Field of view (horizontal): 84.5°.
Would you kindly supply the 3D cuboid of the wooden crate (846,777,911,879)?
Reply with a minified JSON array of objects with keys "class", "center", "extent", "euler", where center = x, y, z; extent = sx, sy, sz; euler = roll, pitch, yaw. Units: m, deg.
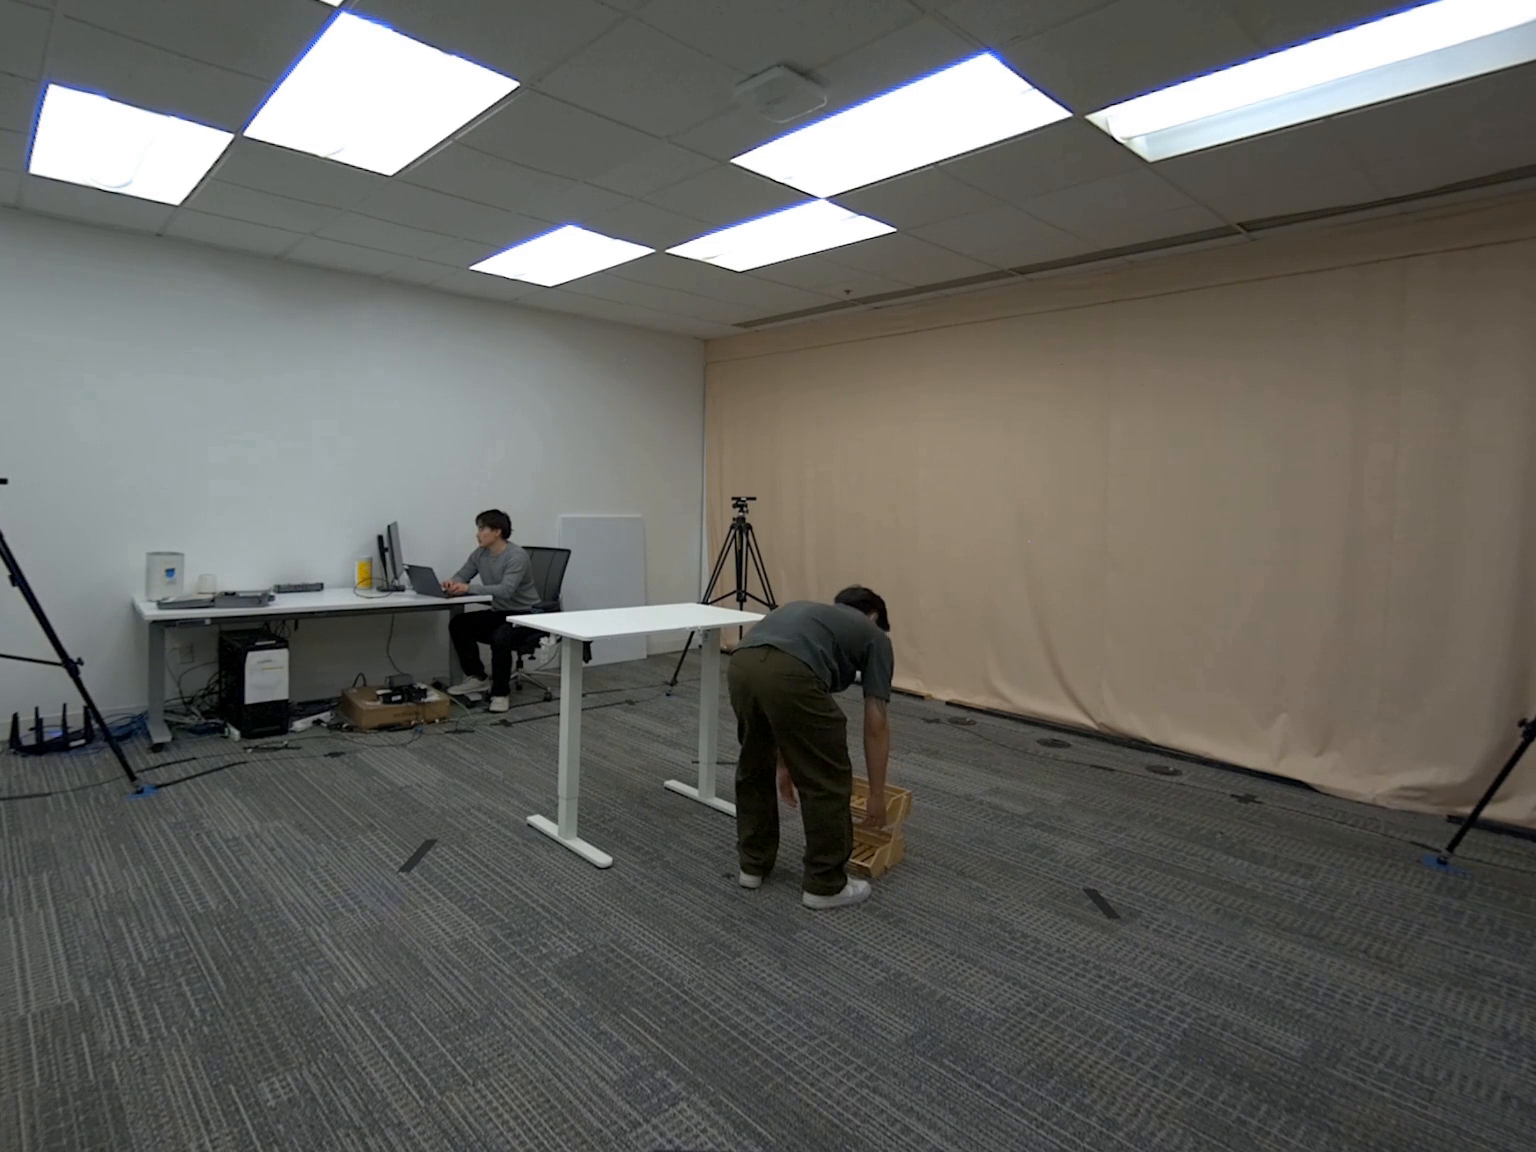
[{"class":"wooden crate","center":[0.342,0.965,3.299],"extent":[0.332,0.273,0.295],"euler":[4,4,38]}]
